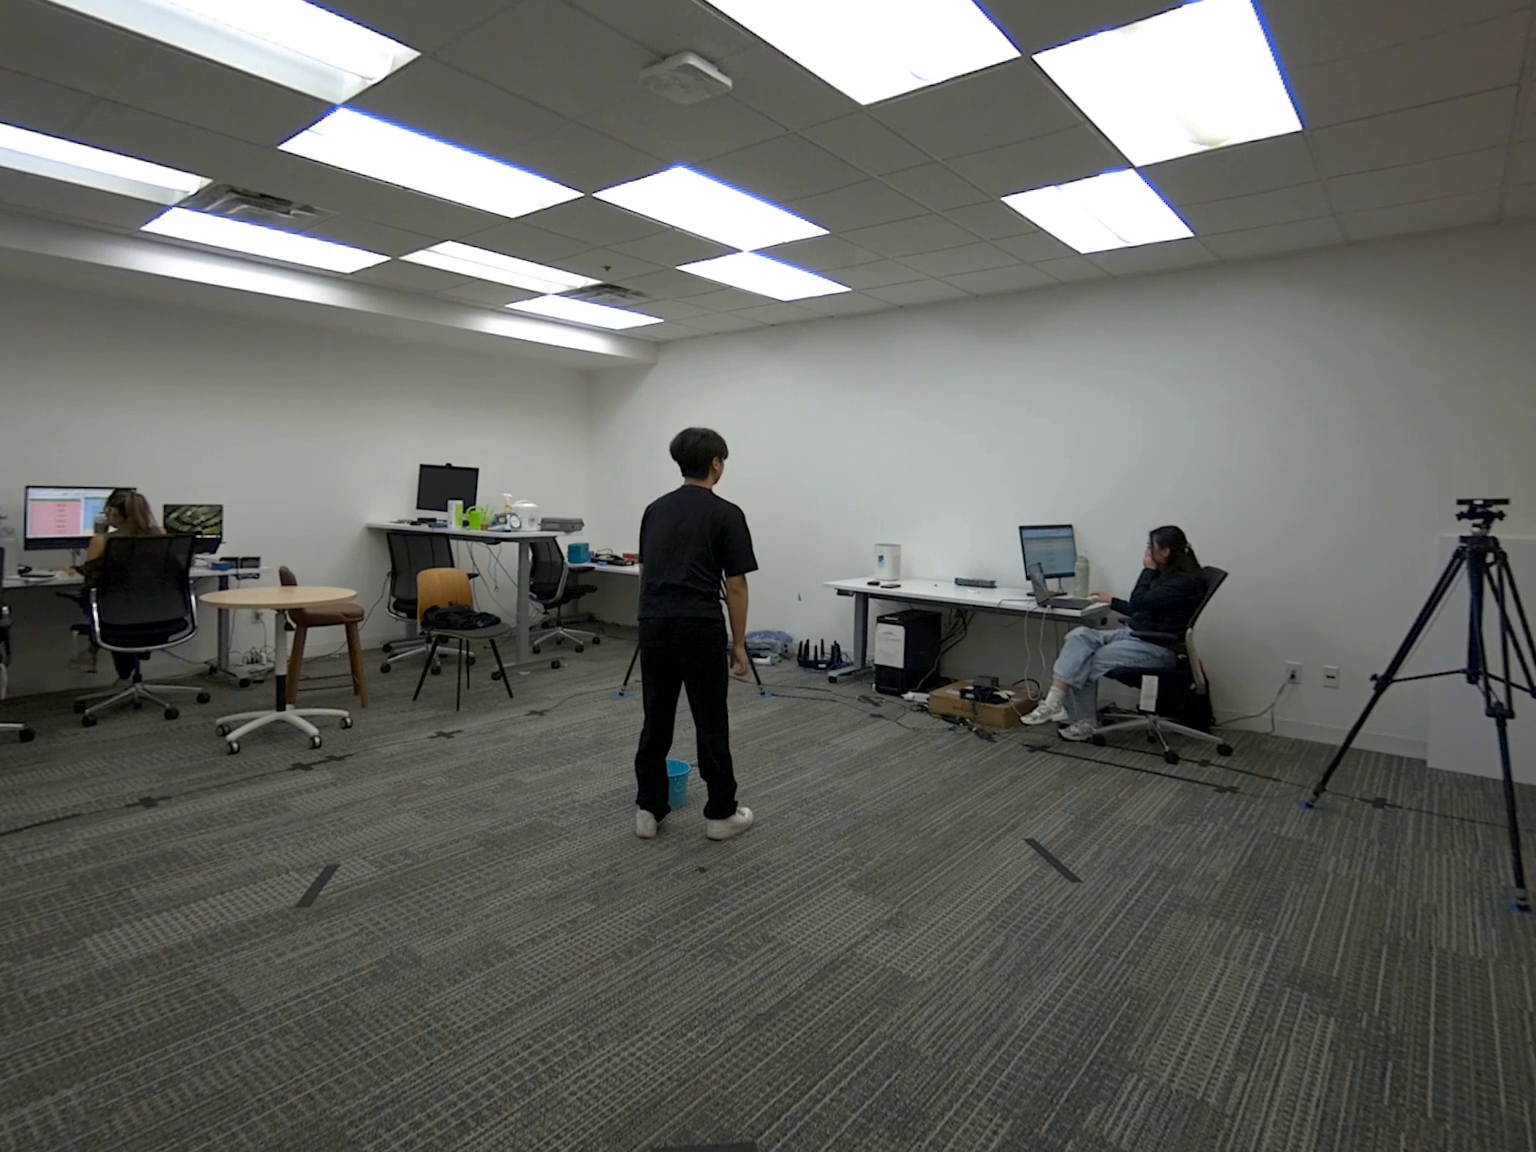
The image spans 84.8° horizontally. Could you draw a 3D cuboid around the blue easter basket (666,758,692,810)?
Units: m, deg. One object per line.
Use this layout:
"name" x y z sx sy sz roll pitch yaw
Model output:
"blue easter basket" -0.471 0.919 3.780 0.243 0.155 0.245 1 5 -2
